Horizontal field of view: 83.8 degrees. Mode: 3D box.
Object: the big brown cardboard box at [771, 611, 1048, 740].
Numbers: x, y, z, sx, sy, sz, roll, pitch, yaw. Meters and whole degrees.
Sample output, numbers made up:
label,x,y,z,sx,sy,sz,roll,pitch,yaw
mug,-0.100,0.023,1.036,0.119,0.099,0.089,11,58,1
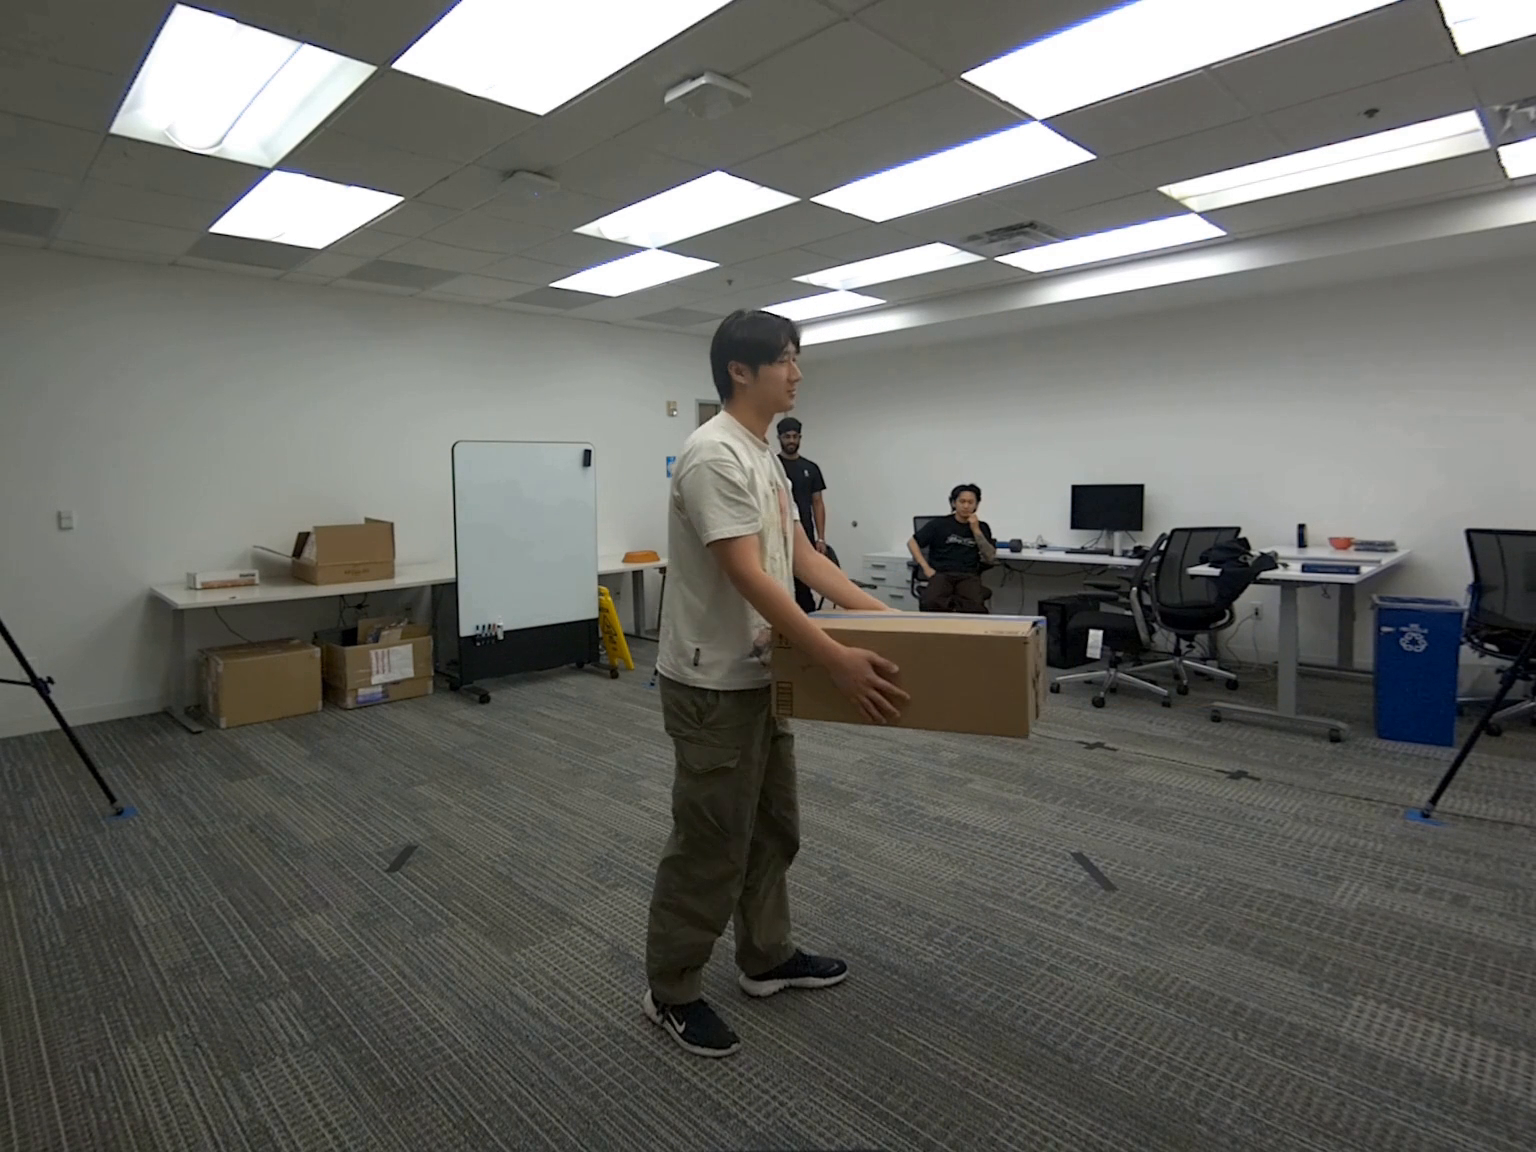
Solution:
label,x,y,z,sx,sy,sz,roll,pitch,yaw
big brown cardboard box,0.350,0.208,2.052,0.602,0.233,0.409,0,3,23
